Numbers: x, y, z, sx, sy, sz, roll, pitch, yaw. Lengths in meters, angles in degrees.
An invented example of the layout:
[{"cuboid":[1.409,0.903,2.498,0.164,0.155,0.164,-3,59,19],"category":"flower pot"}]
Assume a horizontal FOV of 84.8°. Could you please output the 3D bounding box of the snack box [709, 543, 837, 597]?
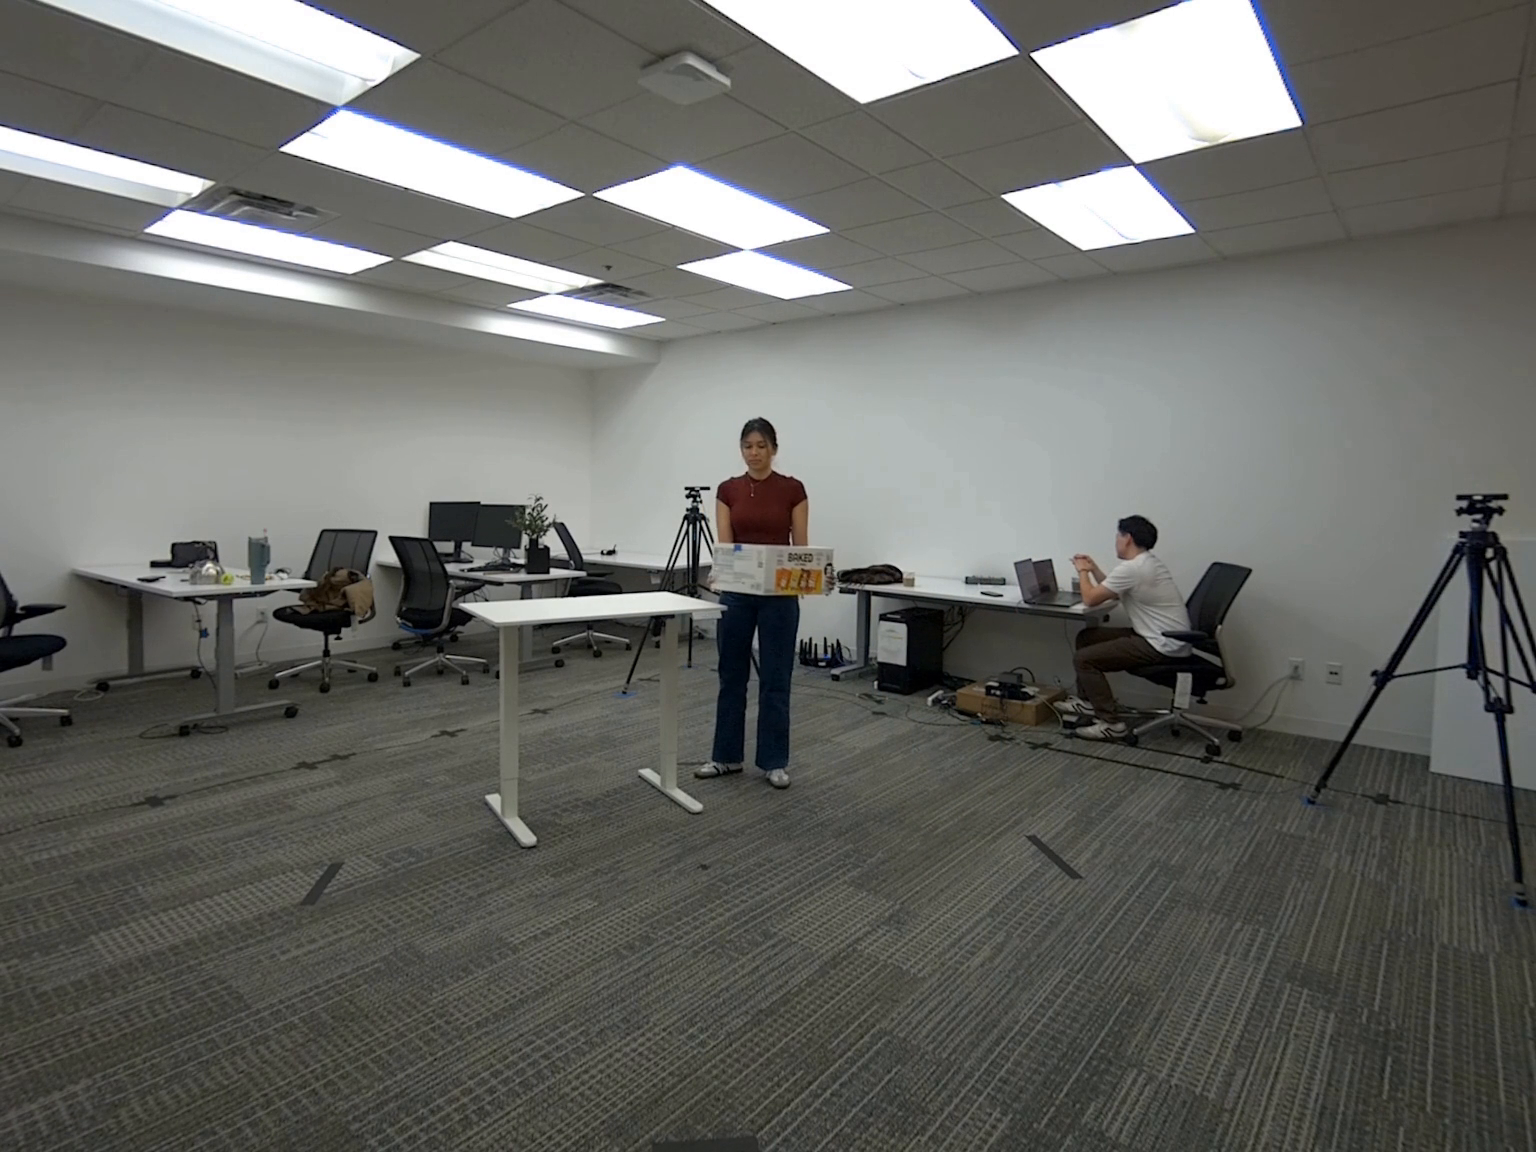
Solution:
[{"cuboid":[0.000,-0.036,3.687,0.392,0.206,0.351,1,2,-42],"category":"snack box"}]
